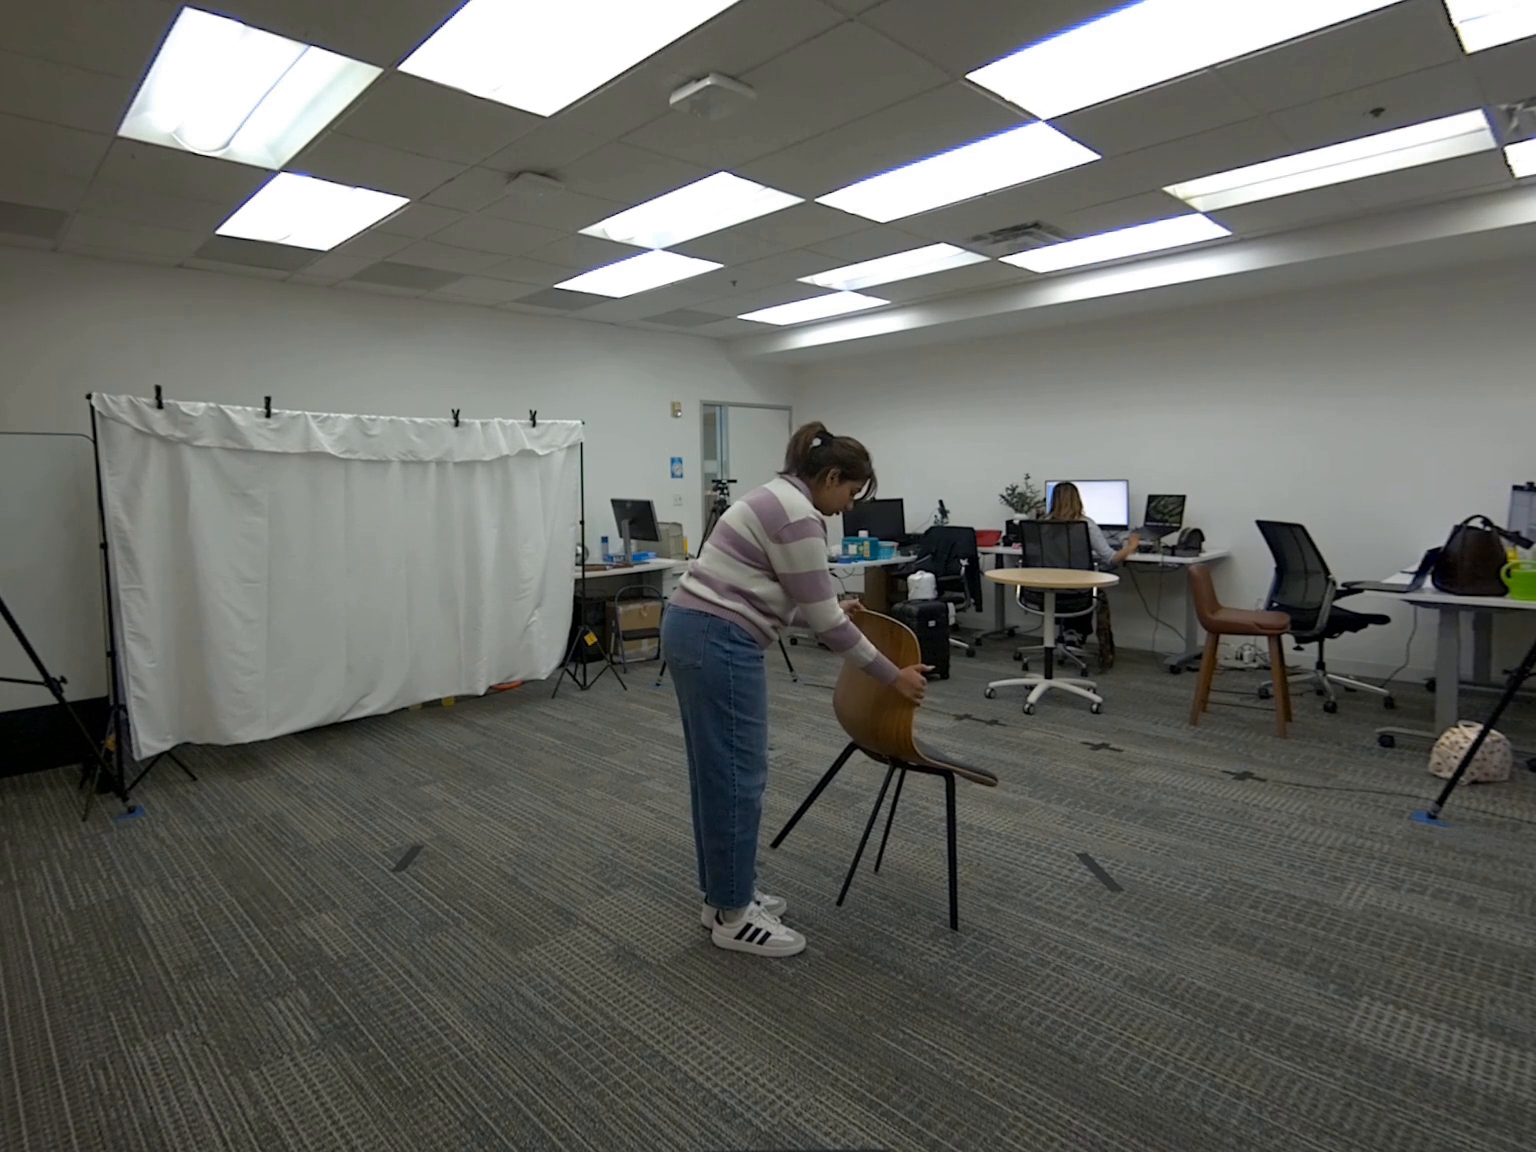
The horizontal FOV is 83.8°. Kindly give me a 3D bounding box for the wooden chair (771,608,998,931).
[{"bbox_3d":[0.437,0.598,2.782,0.510,0.879,0.489,16,-3,-24],"label":"wooden chair"}]
